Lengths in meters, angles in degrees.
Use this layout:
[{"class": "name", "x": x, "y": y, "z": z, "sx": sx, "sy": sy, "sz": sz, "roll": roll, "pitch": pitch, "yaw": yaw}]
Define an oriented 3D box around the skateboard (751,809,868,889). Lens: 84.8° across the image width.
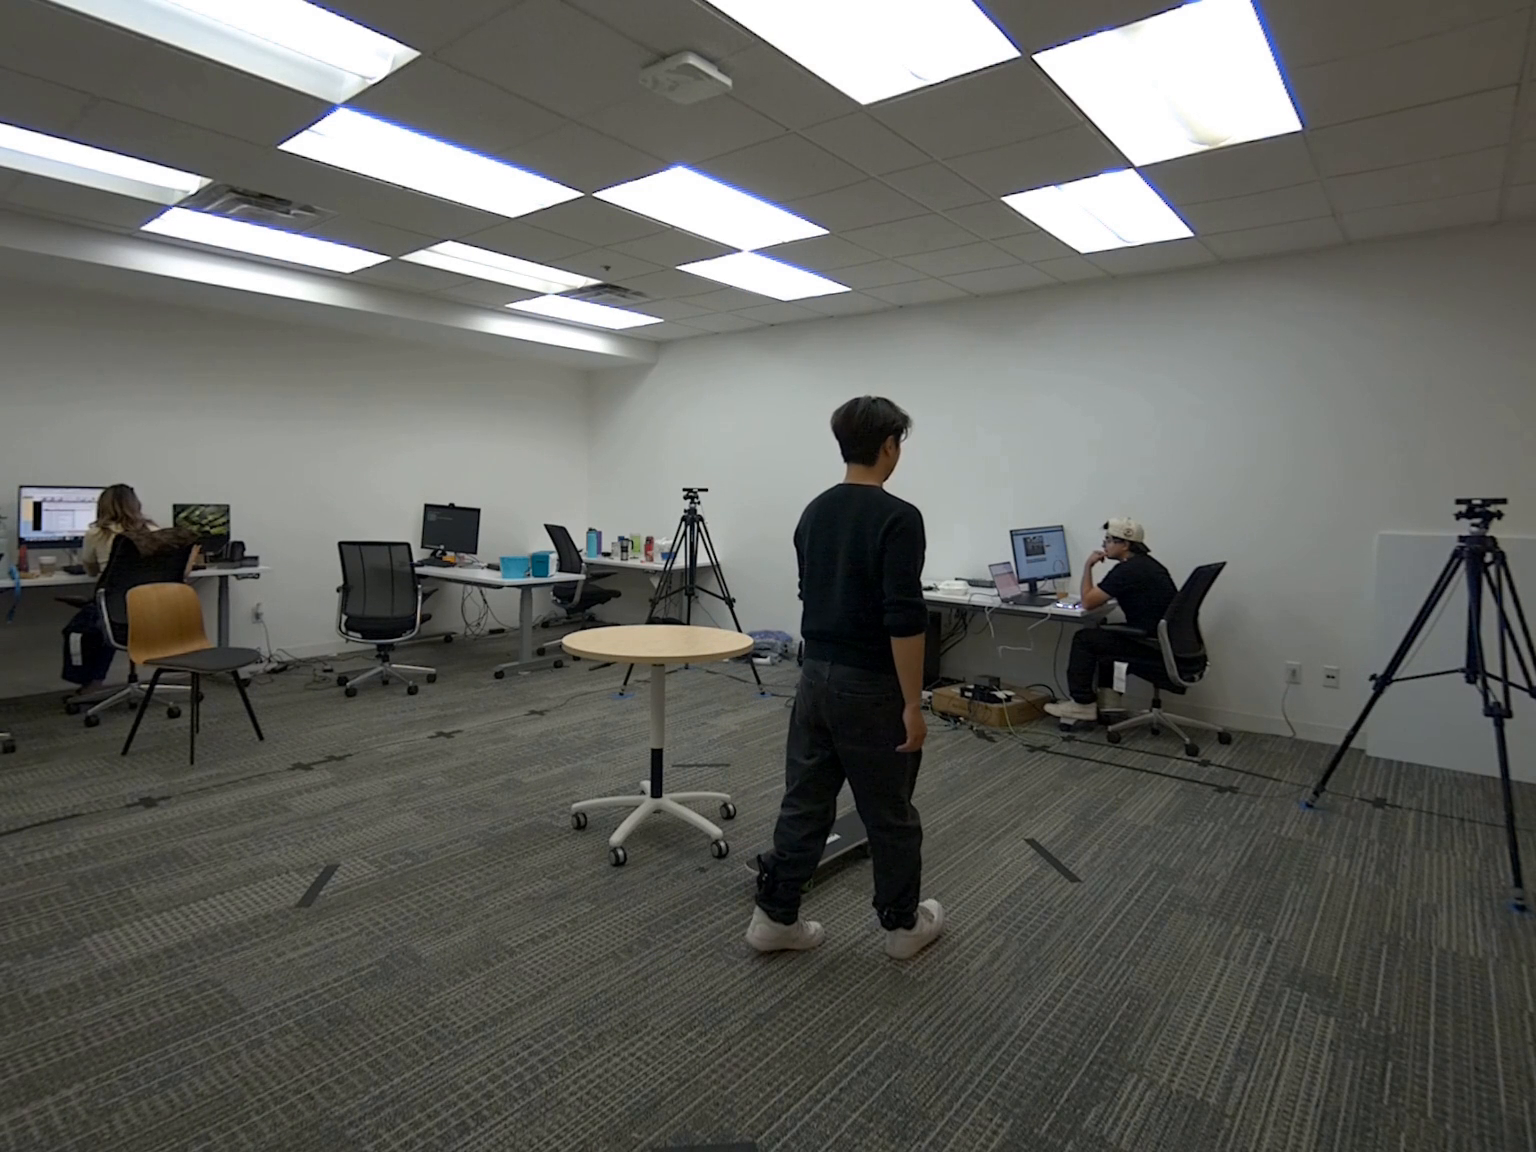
[{"class": "skateboard", "x": 0.201, "y": 1.022, "z": 3.154, "sx": 0.200, "sy": 0.110, "sz": 0.762, "roll": 6, "pitch": 8, "yaw": 41}]
